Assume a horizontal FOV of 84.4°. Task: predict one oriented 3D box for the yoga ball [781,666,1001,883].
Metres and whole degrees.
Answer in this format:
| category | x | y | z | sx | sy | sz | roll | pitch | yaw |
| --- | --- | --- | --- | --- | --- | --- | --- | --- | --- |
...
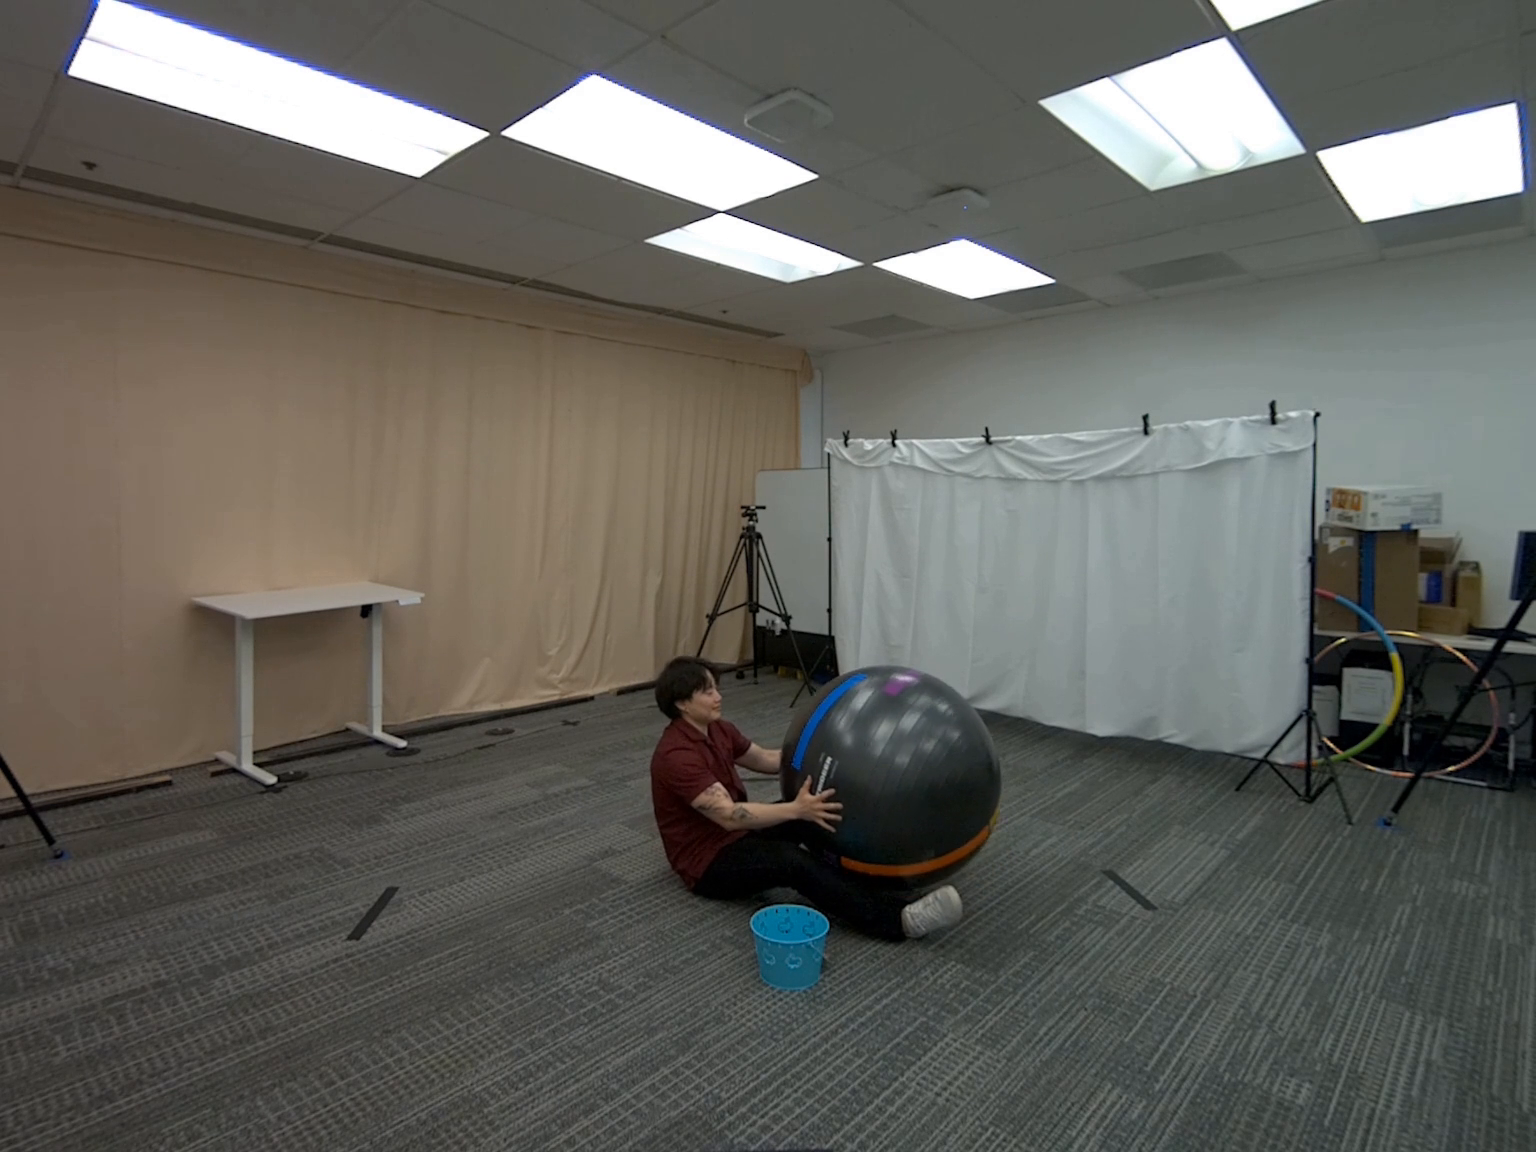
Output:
| category | x | y | z | sx | sy | sz | roll | pitch | yaw |
| --- | --- | --- | --- | --- | --- | --- | --- | --- | --- |
| yoga ball | 0.427 | 0.698 | 2.968 | 0.757 | 0.756 | 0.760 | 0 | 4 | -2 |
